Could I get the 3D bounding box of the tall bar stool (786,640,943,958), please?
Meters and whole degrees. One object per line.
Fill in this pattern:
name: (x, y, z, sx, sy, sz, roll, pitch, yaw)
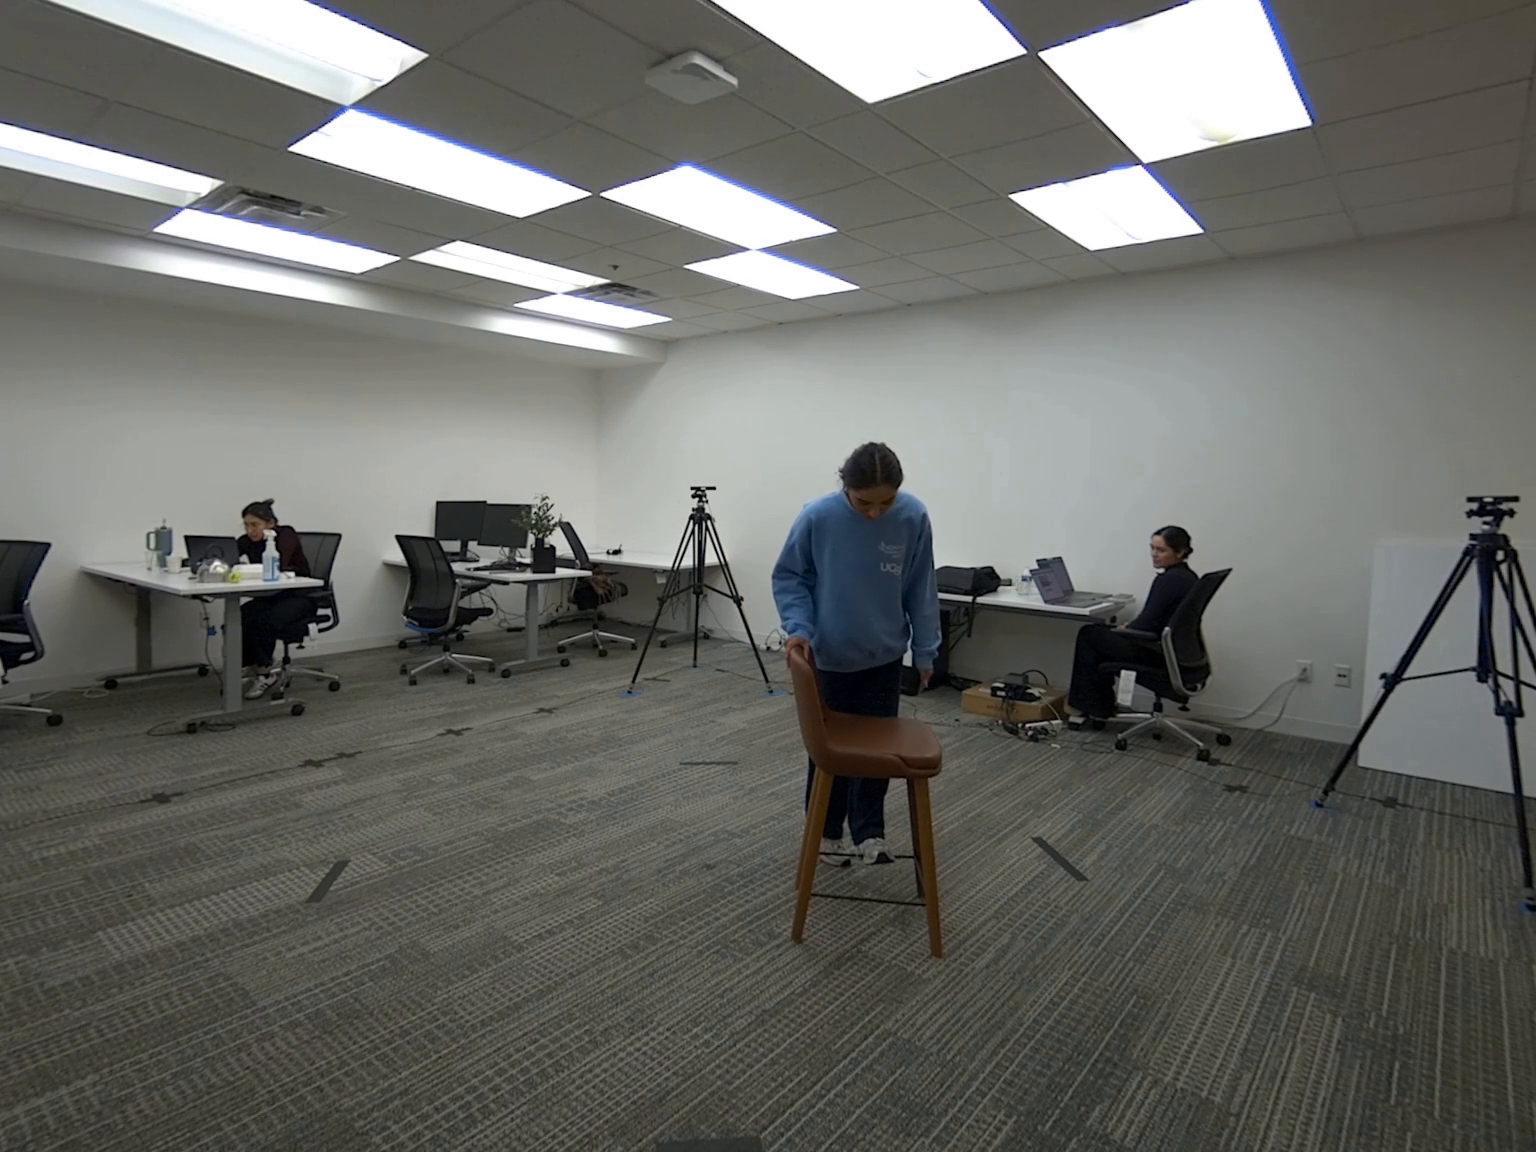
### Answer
tall bar stool: (0.314, 0.673, 2.747, 0.471, 0.888, 0.454, 0, 2, 6)
